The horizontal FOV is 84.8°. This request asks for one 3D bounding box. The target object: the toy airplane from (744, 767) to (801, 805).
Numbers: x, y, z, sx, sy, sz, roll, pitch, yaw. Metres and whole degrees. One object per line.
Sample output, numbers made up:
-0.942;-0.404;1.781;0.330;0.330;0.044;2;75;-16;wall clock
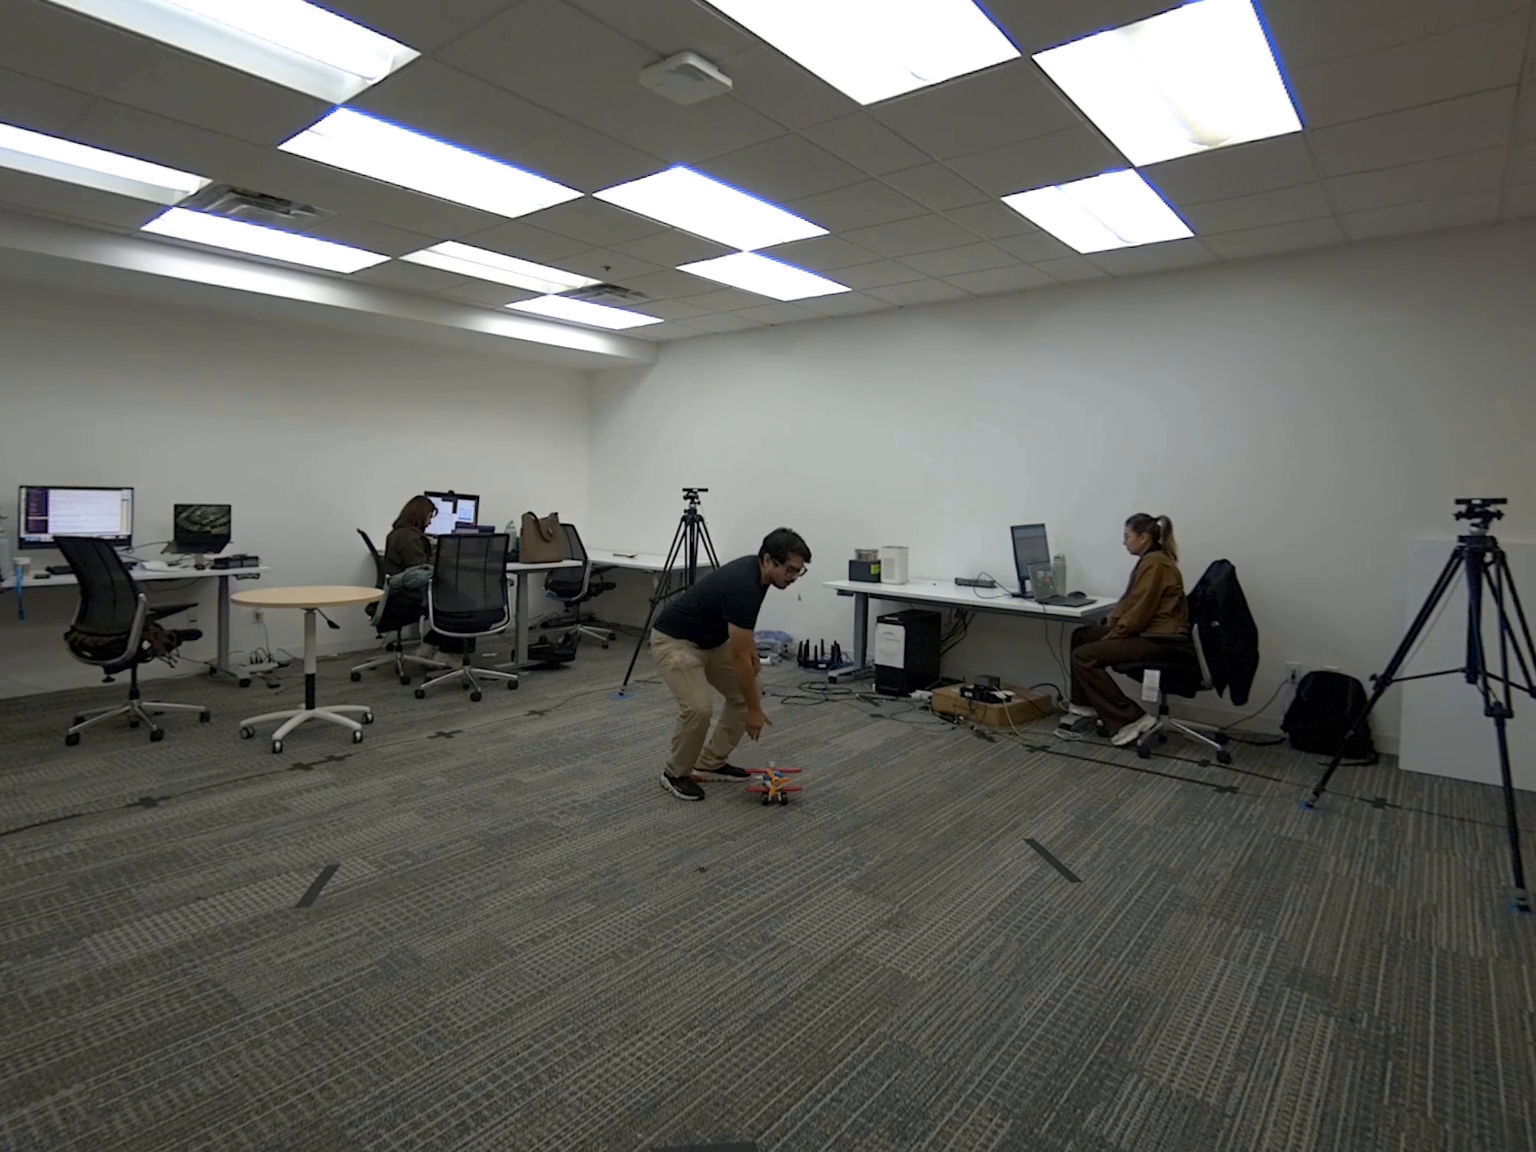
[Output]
-0.005;0.926;3.850;0.244;0.156;0.268;-3;7;-34;toy airplane
